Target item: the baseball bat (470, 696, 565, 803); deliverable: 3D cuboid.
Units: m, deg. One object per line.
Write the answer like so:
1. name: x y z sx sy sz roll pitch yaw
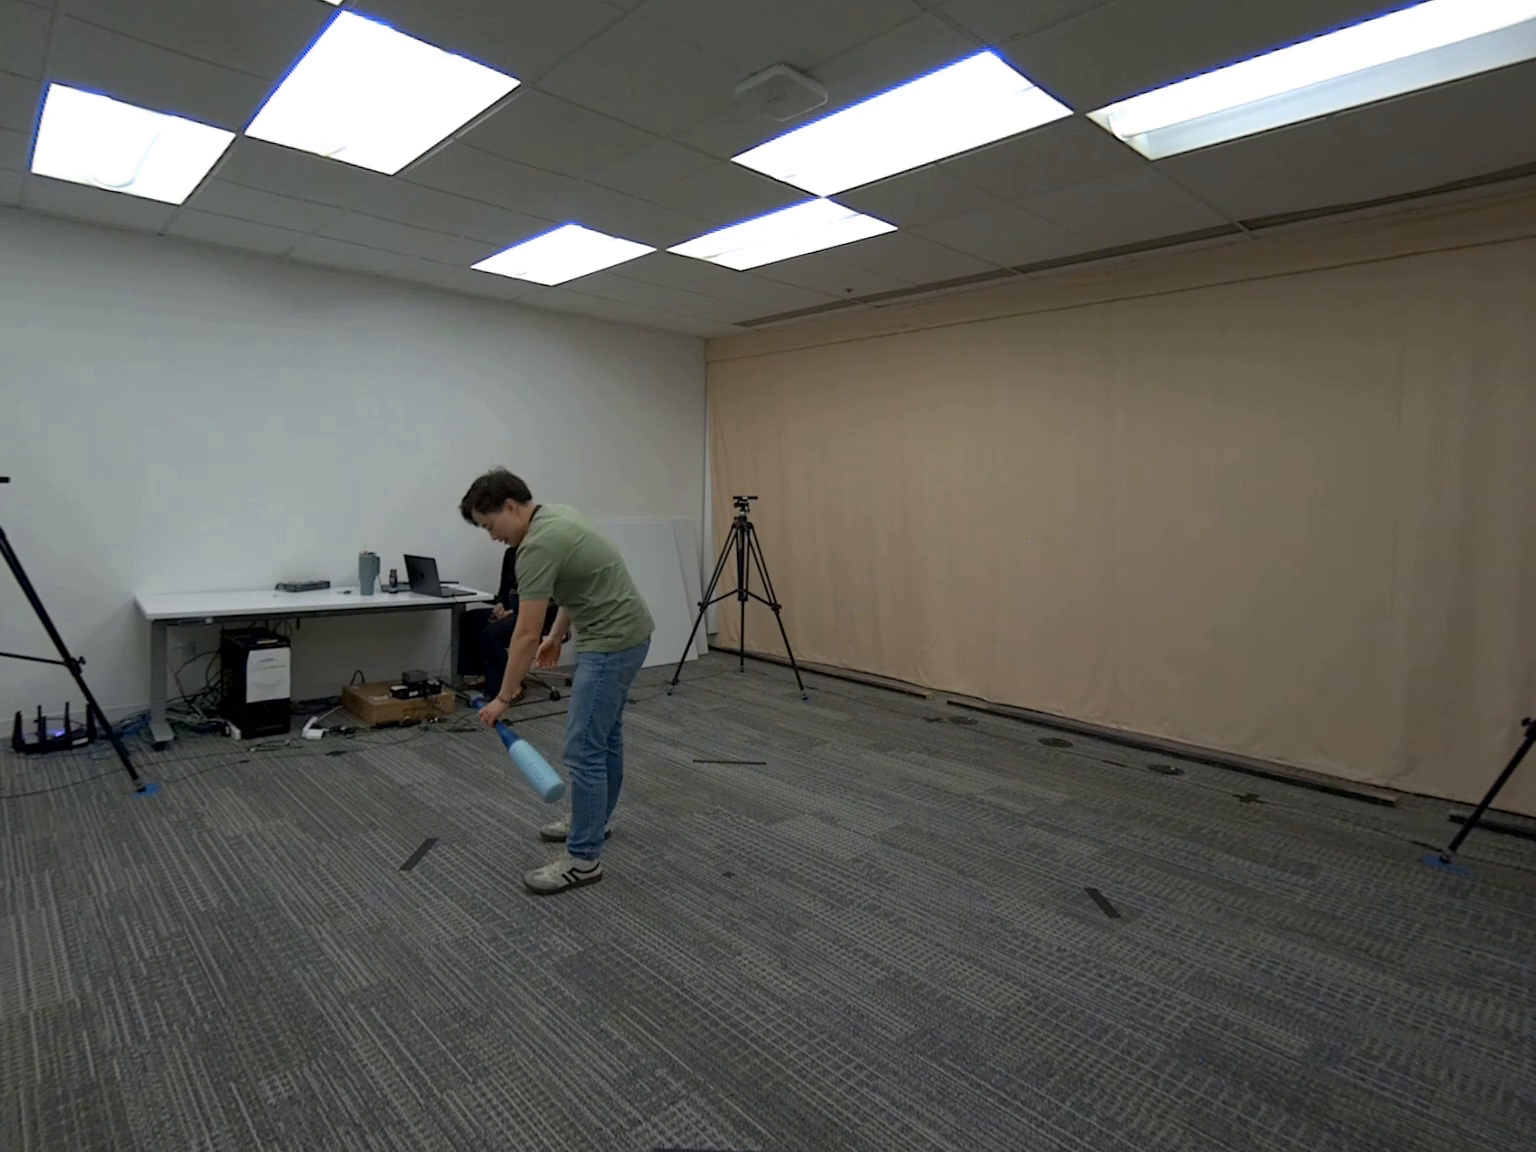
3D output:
1. baseball bat: -0.875 0.583 2.880 0.560 0.088 0.087 35 24 35
